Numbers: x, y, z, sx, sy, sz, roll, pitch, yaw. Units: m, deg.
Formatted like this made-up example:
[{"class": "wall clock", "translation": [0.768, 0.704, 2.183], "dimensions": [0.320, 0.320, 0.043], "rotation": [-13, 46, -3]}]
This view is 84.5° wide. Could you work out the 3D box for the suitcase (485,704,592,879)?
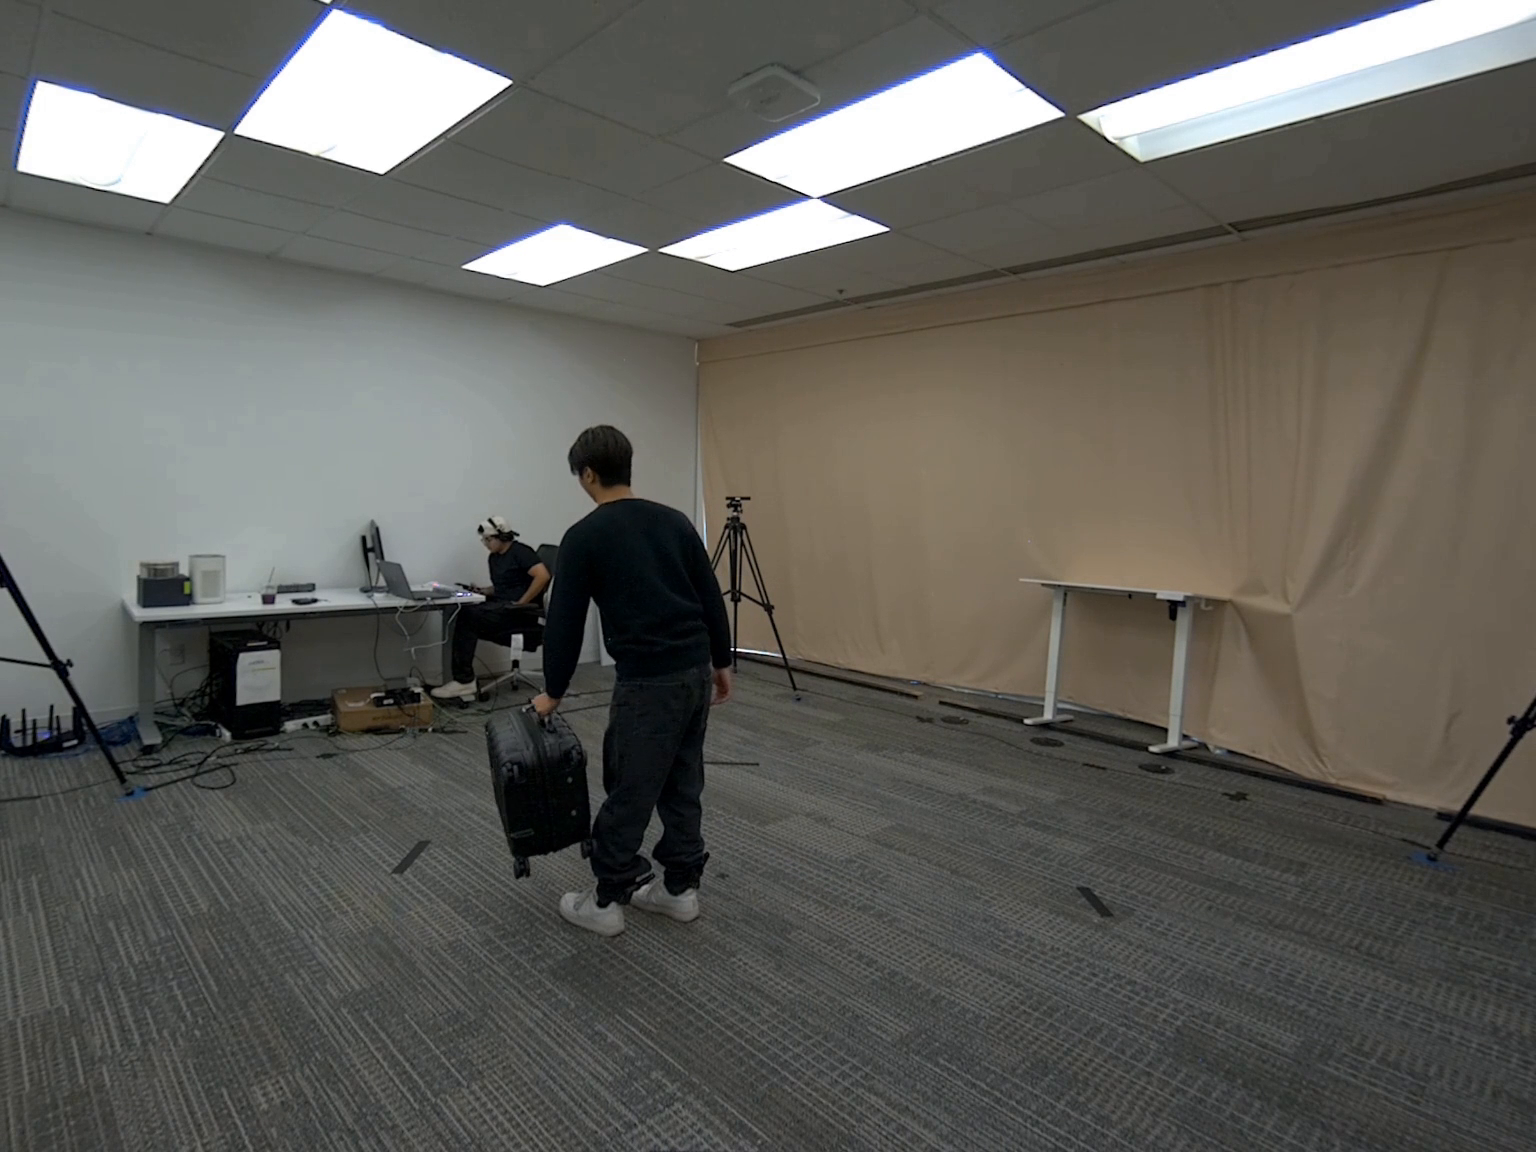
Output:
[{"class": "suitcase", "translation": [-0.858, 0.630, 2.945], "dimensions": [0.253, 0.381, 1.001], "rotation": [-10, 12, -24]}]
